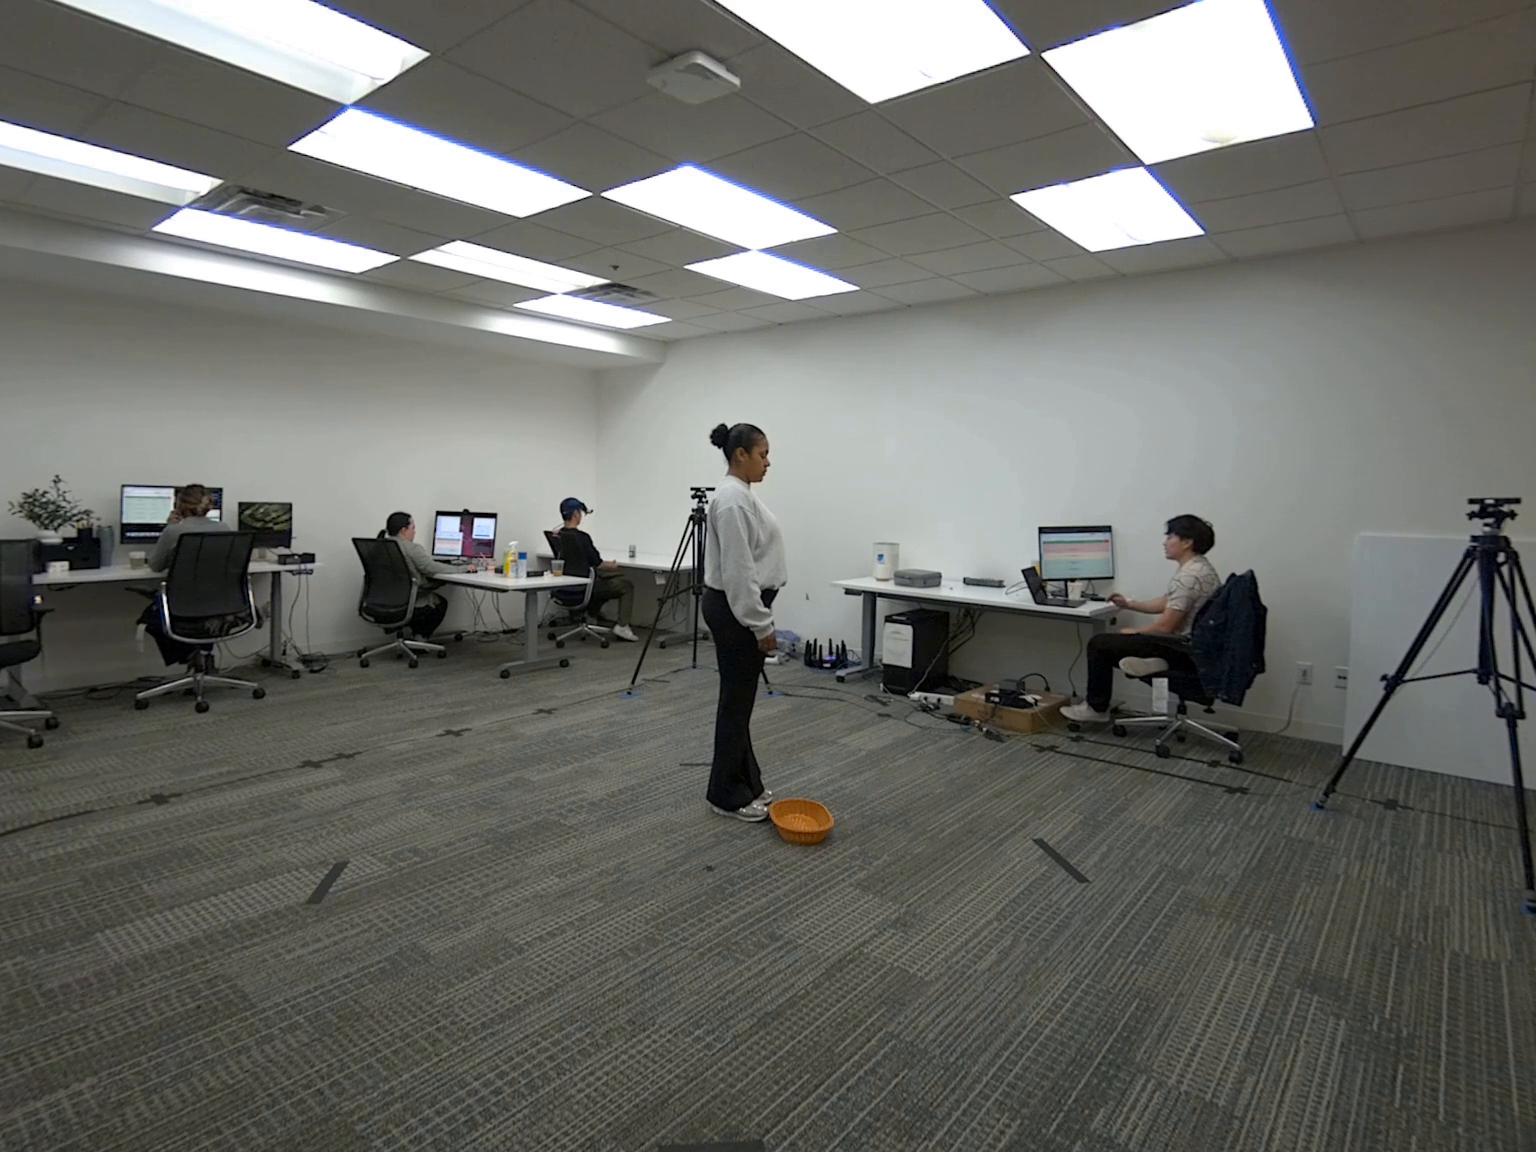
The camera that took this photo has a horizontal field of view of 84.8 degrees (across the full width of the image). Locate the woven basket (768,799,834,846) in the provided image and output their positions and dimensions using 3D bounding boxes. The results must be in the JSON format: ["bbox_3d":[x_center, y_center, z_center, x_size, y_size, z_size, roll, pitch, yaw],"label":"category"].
[{"bbox_3d":[0.127,0.998,3.472,0.251,0.073,0.353,0,6,-5],"label":"woven basket"}]
